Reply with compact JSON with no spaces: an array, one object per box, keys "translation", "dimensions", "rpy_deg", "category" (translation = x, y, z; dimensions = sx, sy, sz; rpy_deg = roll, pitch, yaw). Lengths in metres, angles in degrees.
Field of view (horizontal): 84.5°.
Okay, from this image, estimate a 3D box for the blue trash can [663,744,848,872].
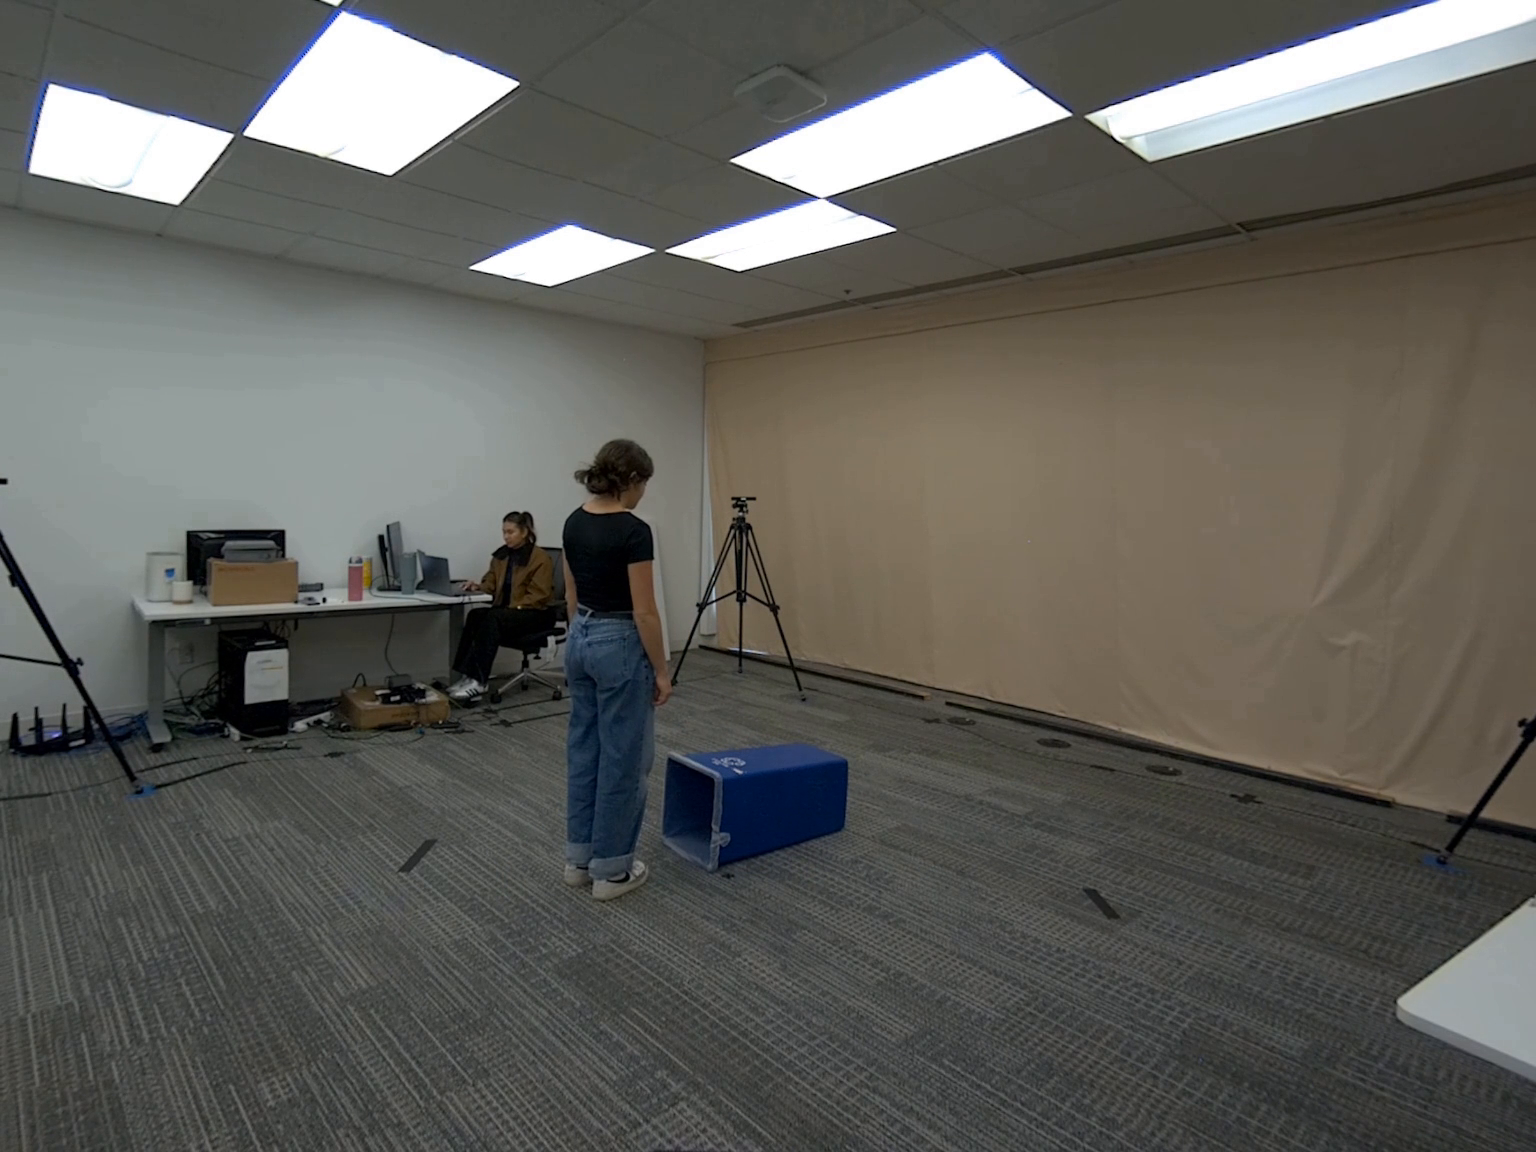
[{"translation":[-0.045,0.912,3.469],"dimensions":[0.696,0.378,0.383],"rpy_deg":[2,3,-39],"category":"blue trash can"}]
